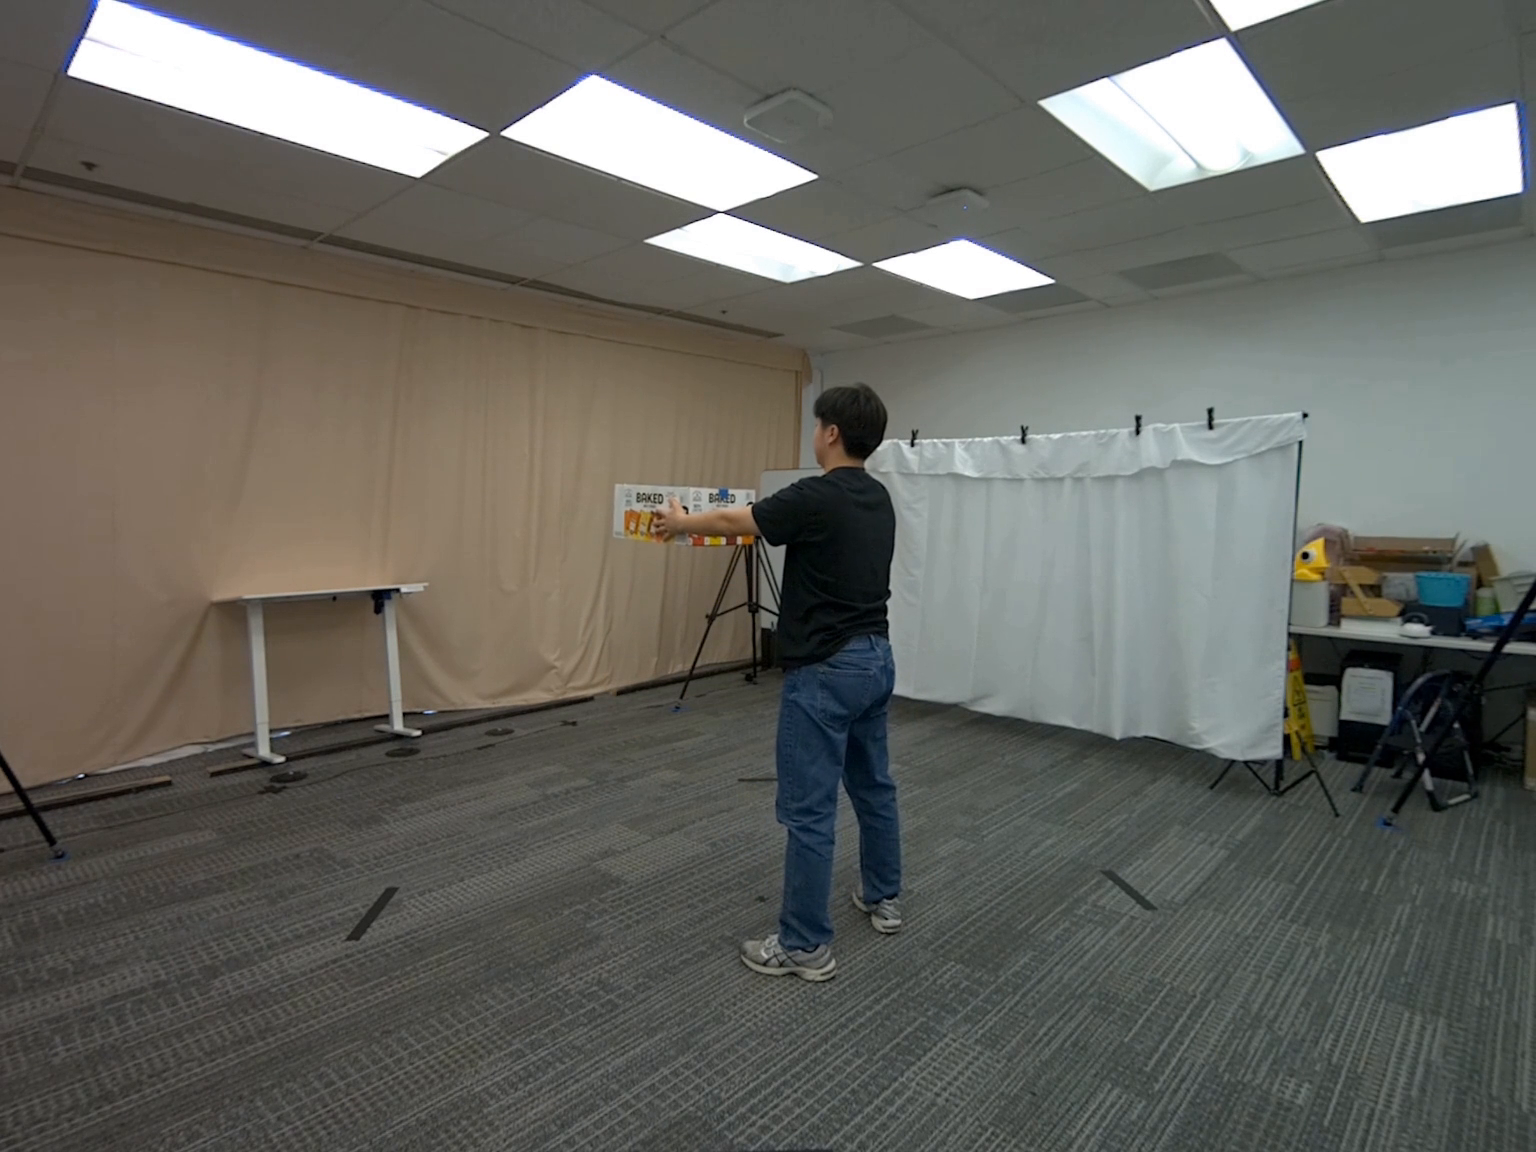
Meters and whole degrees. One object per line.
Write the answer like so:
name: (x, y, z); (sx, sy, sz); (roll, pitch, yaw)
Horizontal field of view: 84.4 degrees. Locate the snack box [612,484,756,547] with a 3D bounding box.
snack box: (-0.313, -0.230, 3.141); (0.419, 0.205, 0.330); (7, 6, 42)
